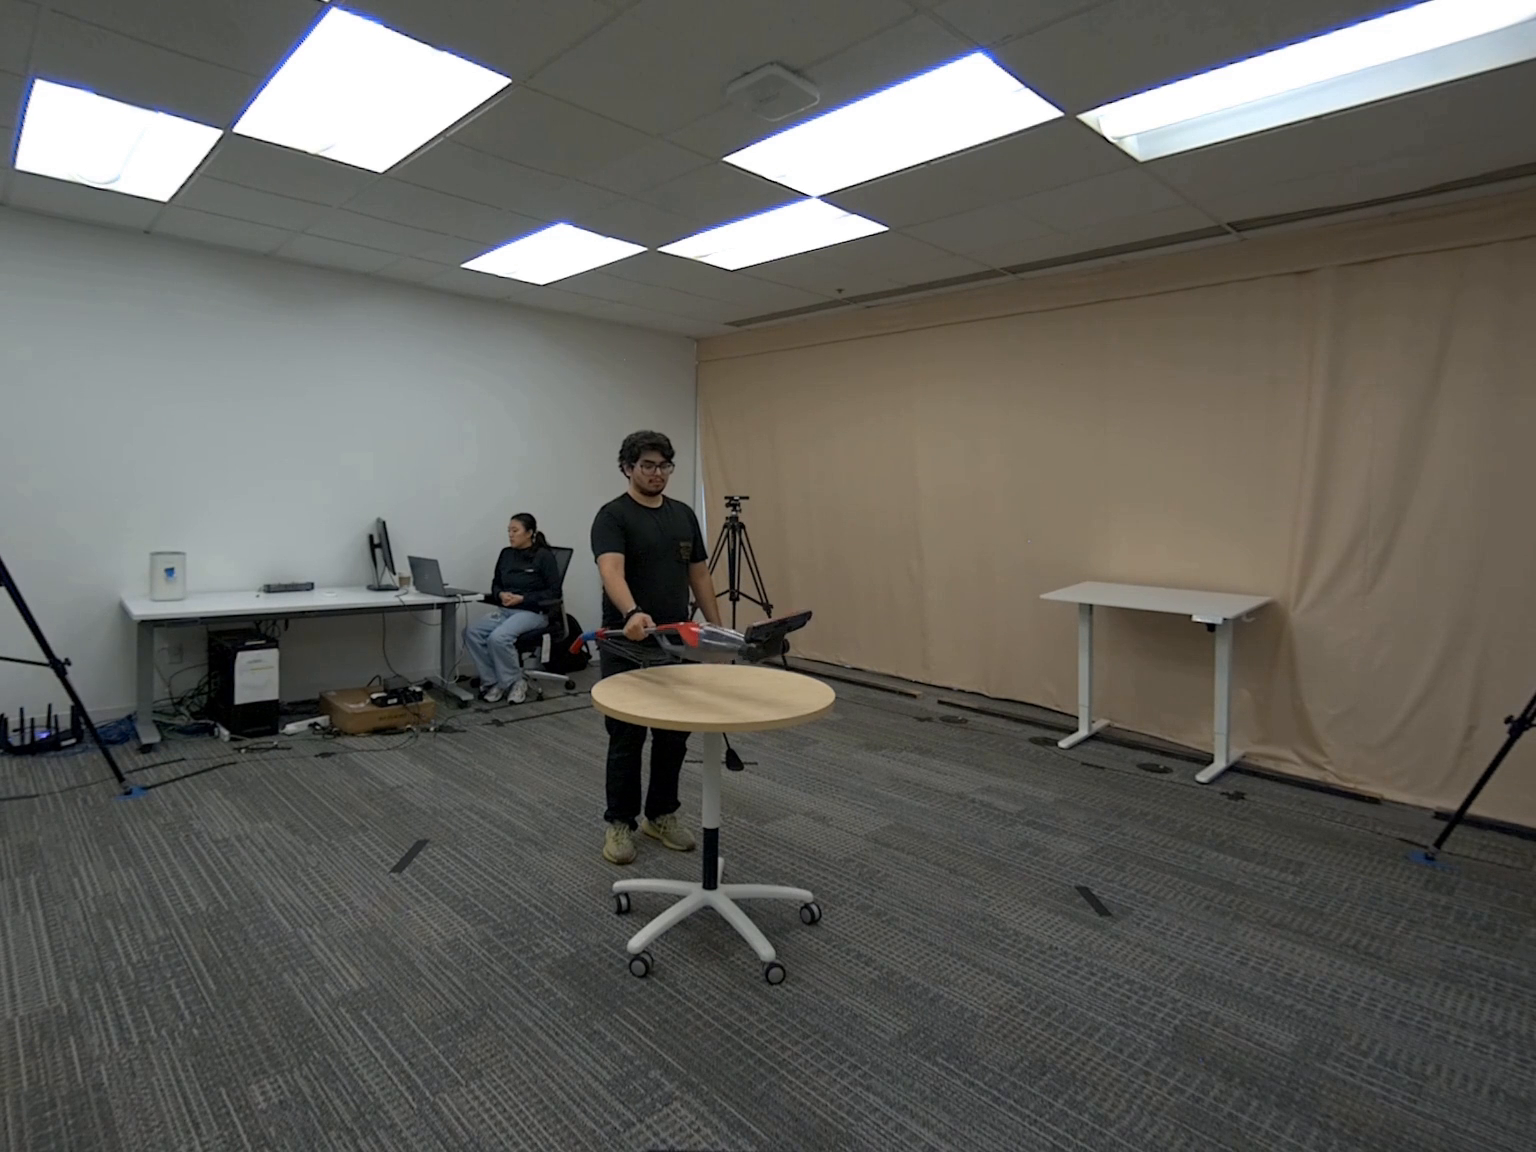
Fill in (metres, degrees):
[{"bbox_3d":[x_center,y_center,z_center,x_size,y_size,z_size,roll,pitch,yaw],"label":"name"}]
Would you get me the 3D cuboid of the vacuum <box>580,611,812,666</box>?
[{"bbox_3d":[-0.345,0.234,2.711,1.070,0.144,0.248,-8,2,45],"label":"vacuum"}]
